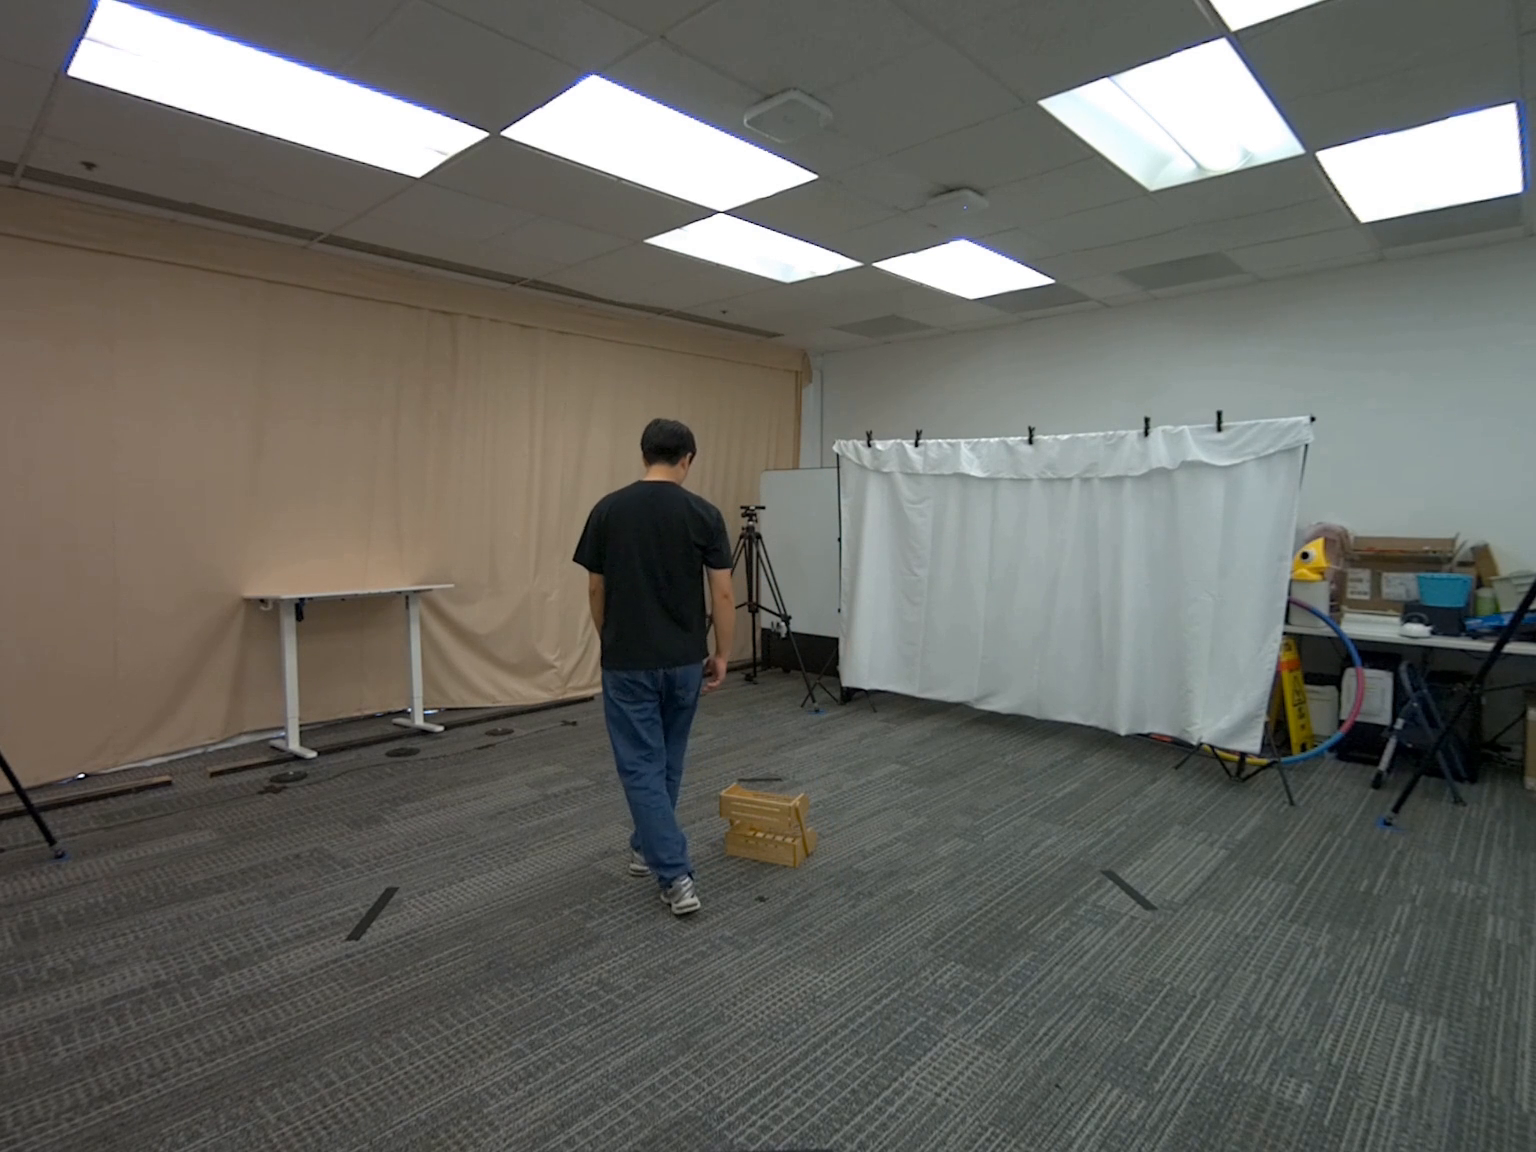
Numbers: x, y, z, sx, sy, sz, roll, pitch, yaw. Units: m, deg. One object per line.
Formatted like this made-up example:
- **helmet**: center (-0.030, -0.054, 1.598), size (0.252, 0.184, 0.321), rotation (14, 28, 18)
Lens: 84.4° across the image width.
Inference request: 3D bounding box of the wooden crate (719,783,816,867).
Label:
- **wooden crate**: center (0.009, 0.975, 3.387), size (0.332, 0.272, 0.295), rotation (2, 5, 24)
